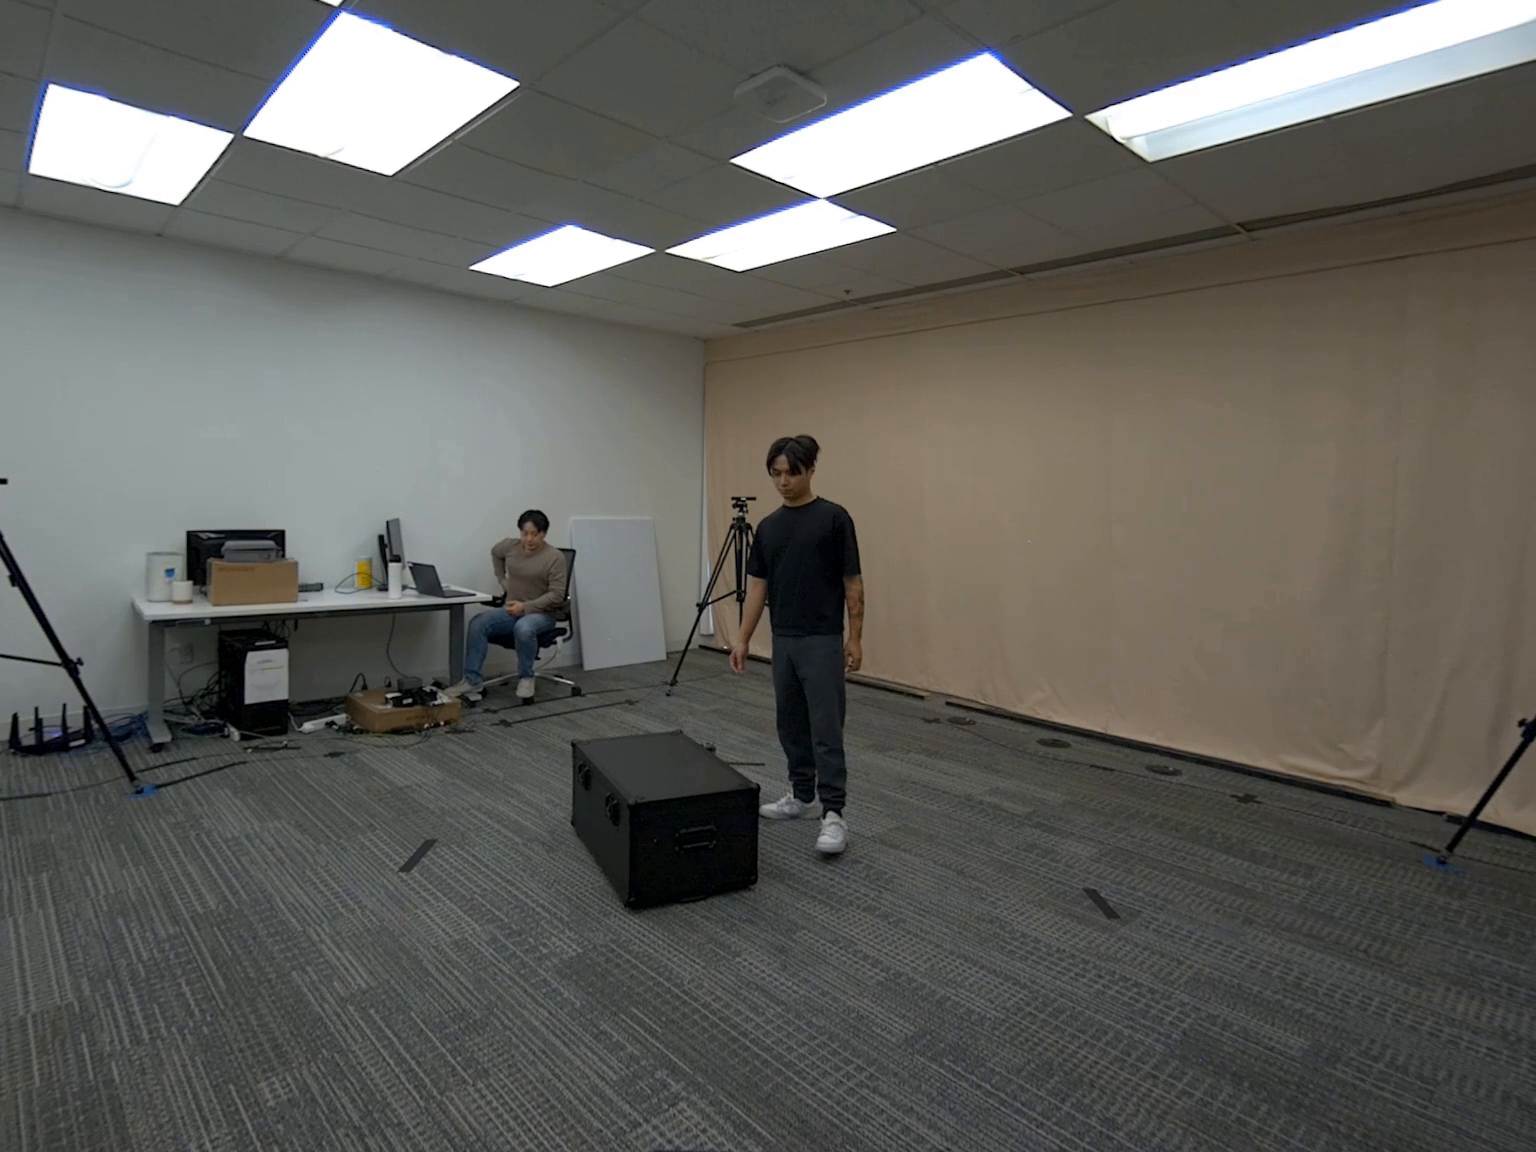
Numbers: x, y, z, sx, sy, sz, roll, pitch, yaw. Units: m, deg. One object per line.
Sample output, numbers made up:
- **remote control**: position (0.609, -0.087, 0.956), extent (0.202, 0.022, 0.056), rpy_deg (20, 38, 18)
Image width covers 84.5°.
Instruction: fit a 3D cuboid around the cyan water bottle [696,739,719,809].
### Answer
- **cyan water bottle**: position (-0.276, 0.893, 3.832), extent (0.092, 0.283, 0.092), rpy_deg (1, 1, -1)
